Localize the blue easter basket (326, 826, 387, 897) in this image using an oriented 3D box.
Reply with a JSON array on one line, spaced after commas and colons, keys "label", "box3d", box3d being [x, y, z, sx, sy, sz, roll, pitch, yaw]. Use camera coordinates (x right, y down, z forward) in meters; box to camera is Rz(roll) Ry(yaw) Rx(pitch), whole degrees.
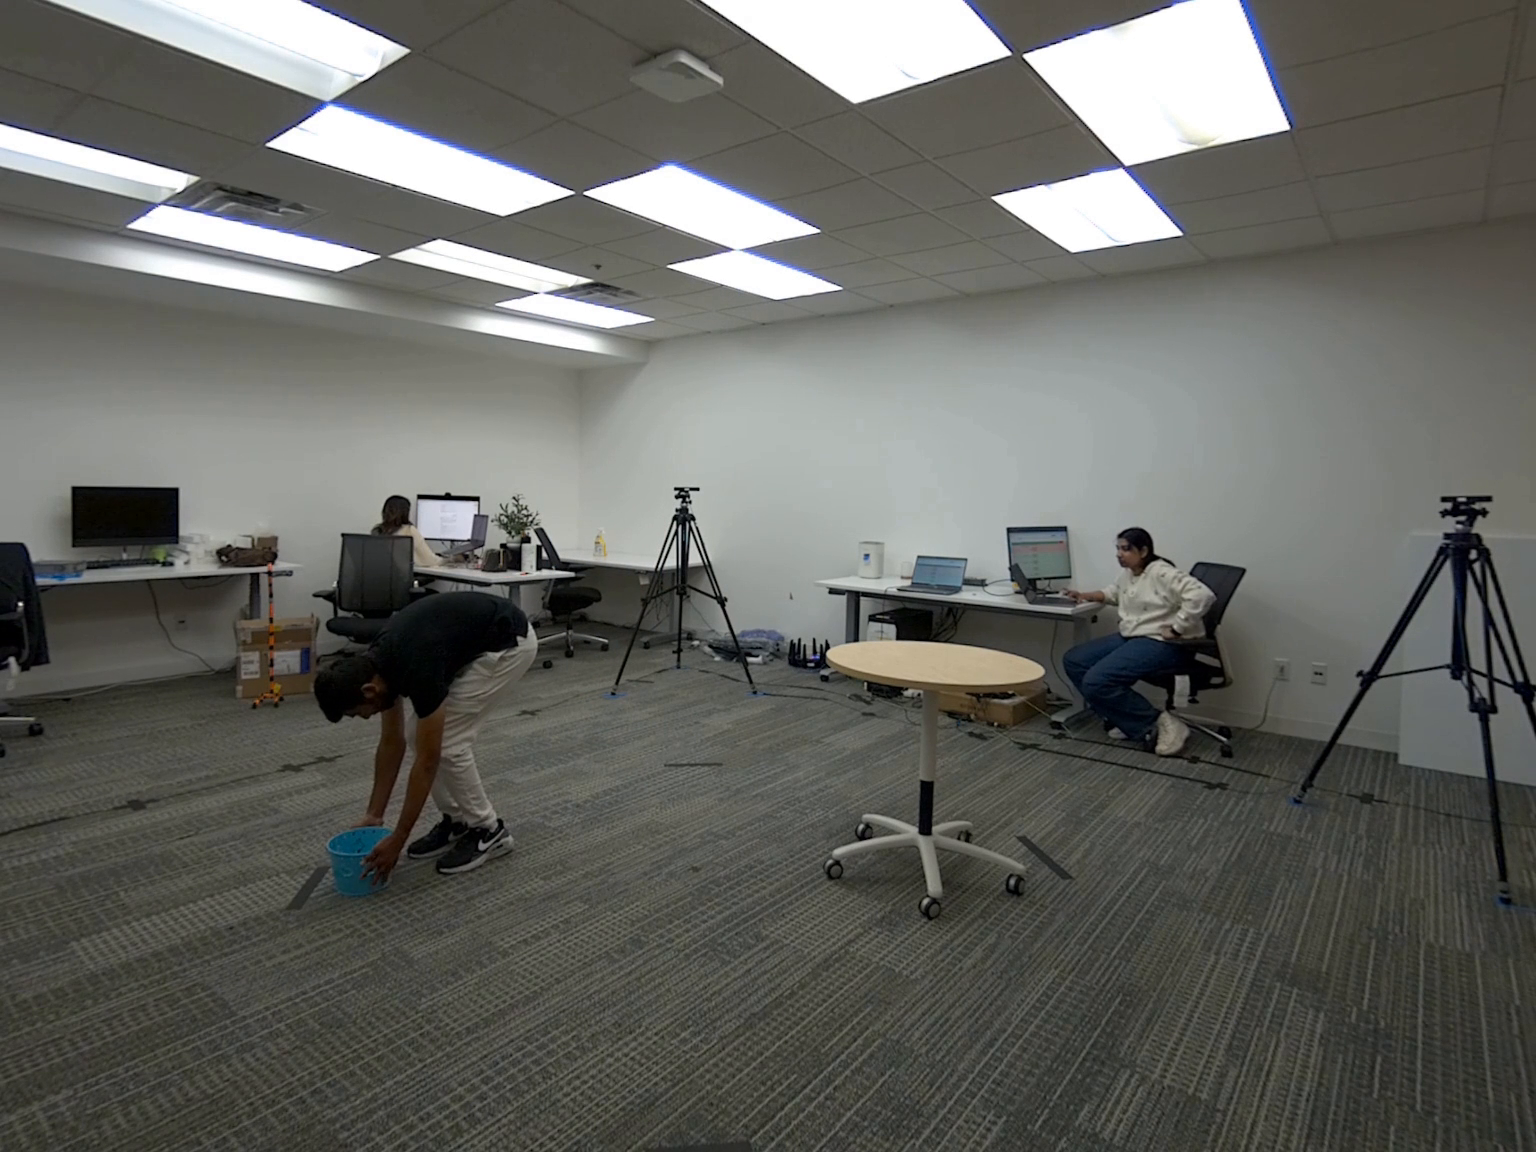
[{"label": "blue easter basket", "box3d": [-1.421, 0.988, 2.964, 0.243, 0.155, 0.245, 1, 7, -2]}]
